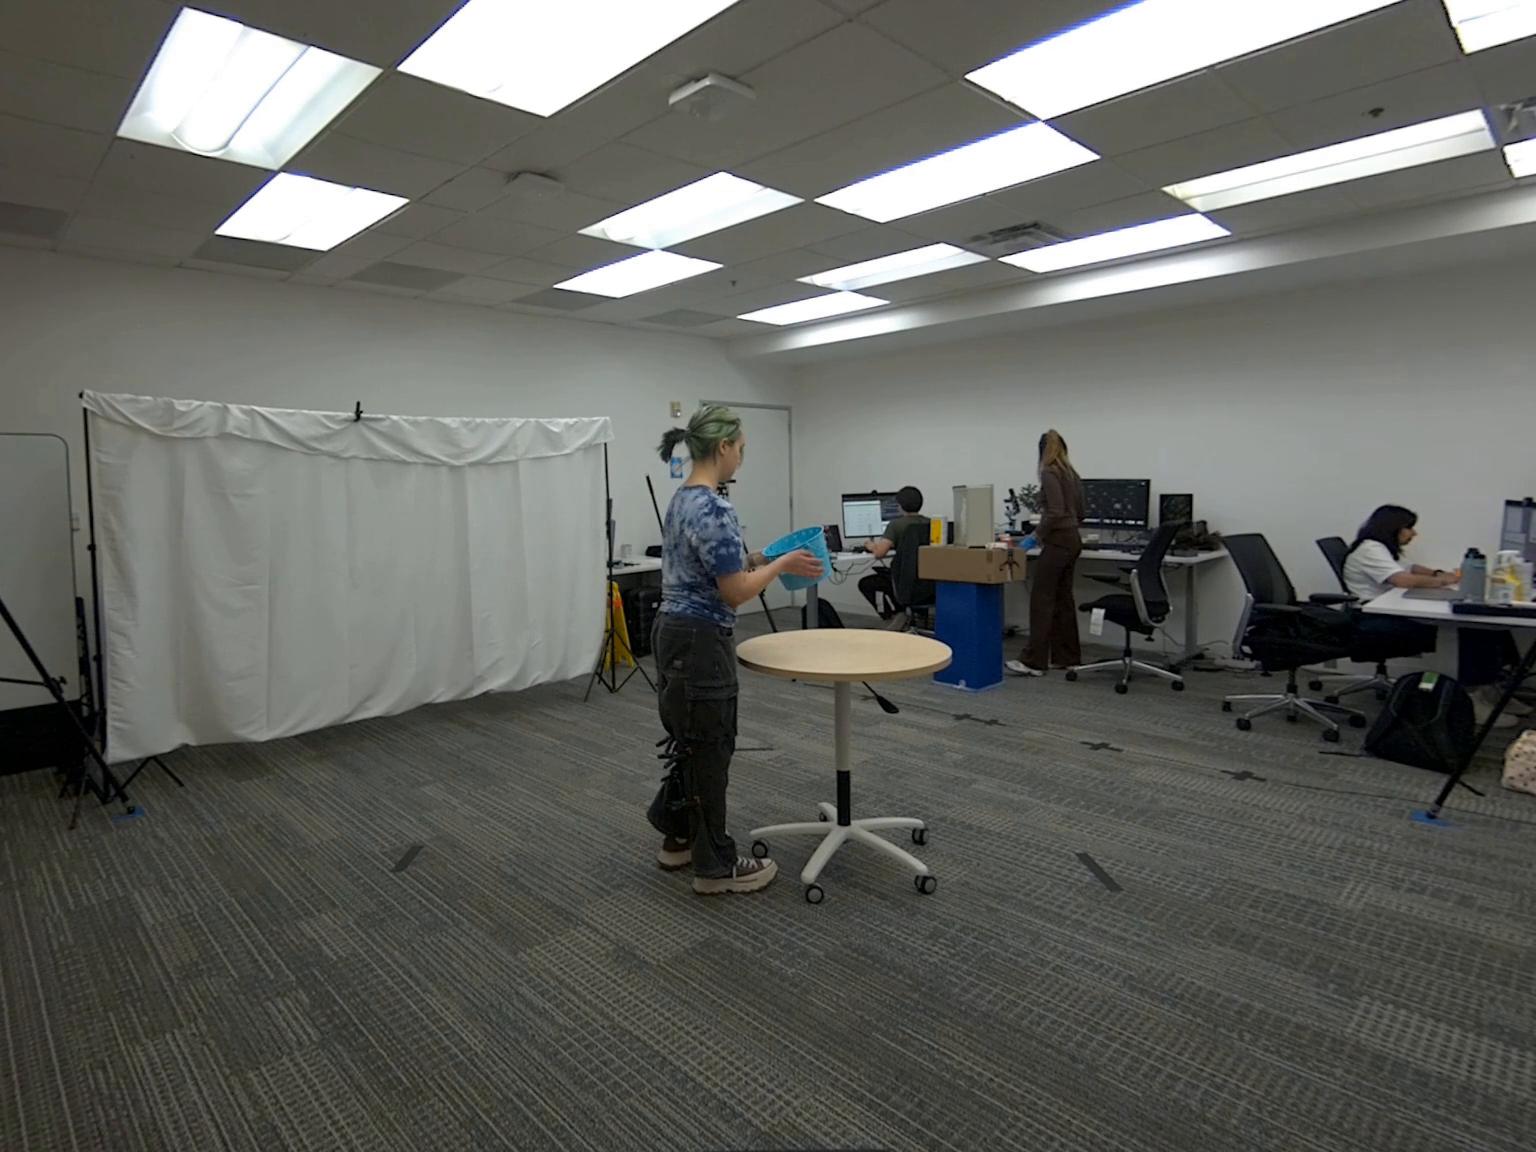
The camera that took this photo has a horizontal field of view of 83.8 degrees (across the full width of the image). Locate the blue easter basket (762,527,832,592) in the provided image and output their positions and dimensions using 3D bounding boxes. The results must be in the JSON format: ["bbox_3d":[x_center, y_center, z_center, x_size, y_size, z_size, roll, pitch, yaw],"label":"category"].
[{"bbox_3d":[0.103,-0.053,3.031,0.244,0.154,0.246,-25,13,4],"label":"blue easter basket"}]
